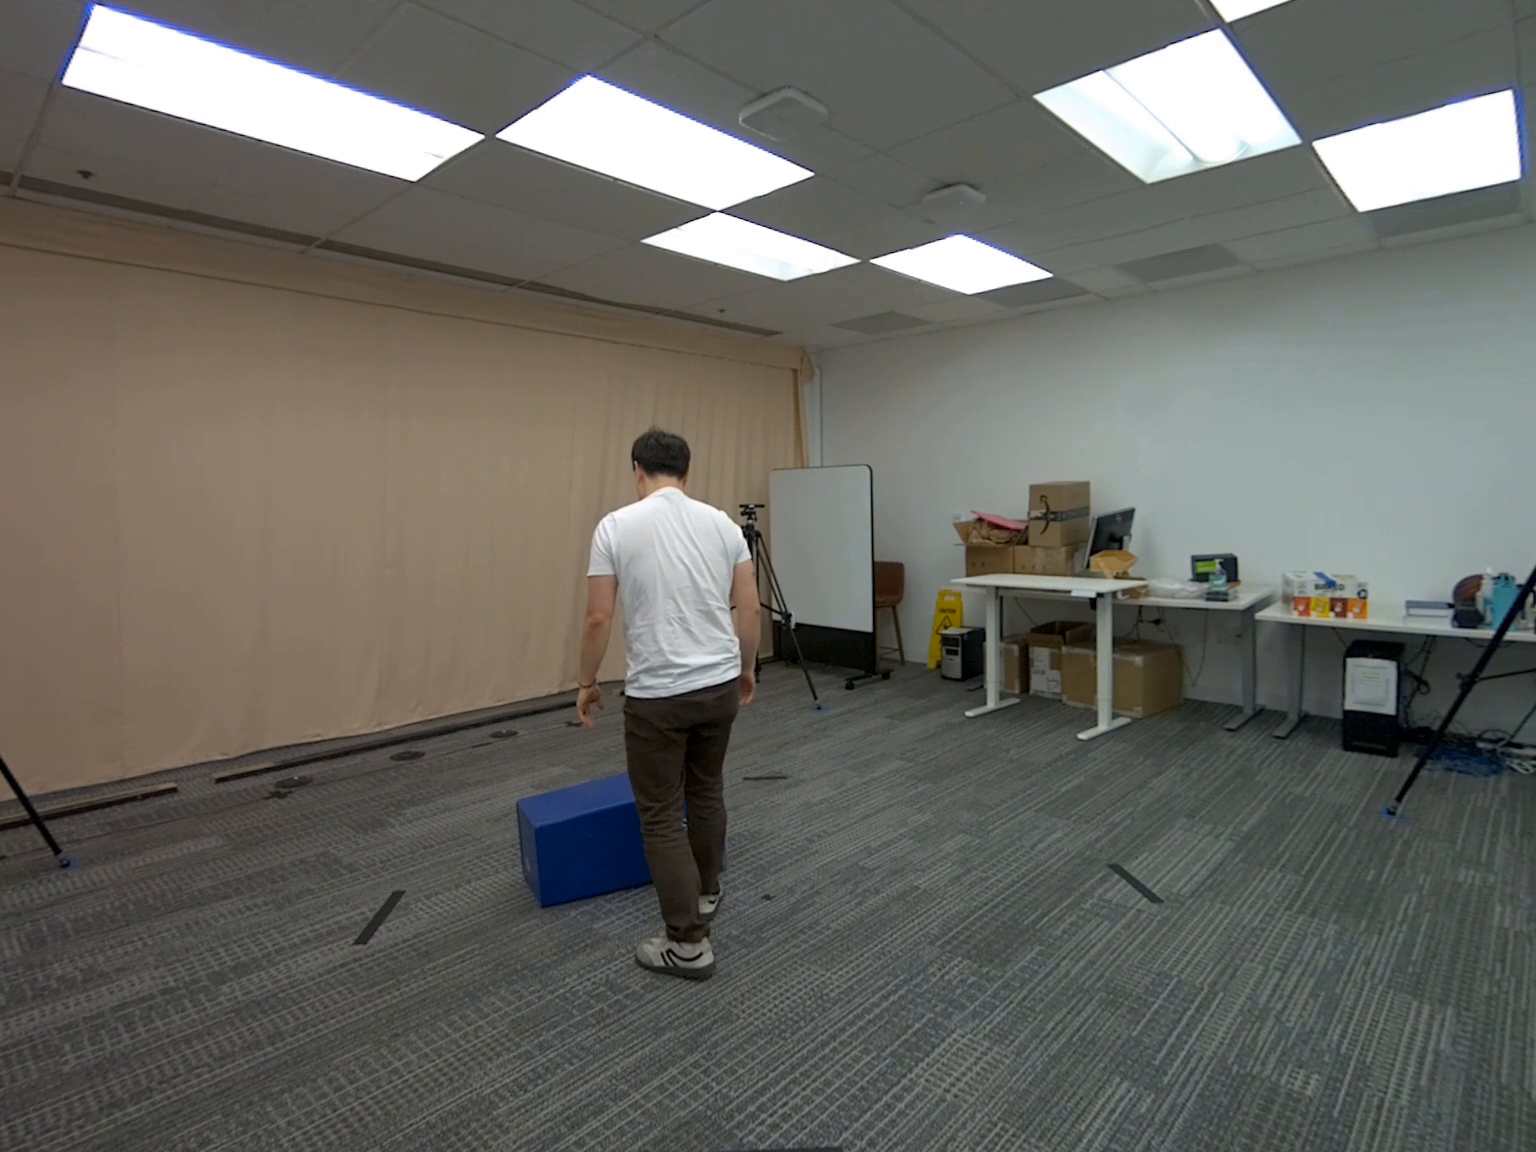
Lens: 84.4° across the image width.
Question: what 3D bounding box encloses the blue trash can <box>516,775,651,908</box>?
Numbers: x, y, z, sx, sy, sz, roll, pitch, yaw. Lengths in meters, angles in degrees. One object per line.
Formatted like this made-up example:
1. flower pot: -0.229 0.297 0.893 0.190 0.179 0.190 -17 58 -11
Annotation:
1. blue trash can: -0.555 0.967 3.197 0.697 0.376 0.384 -7 7 -26
